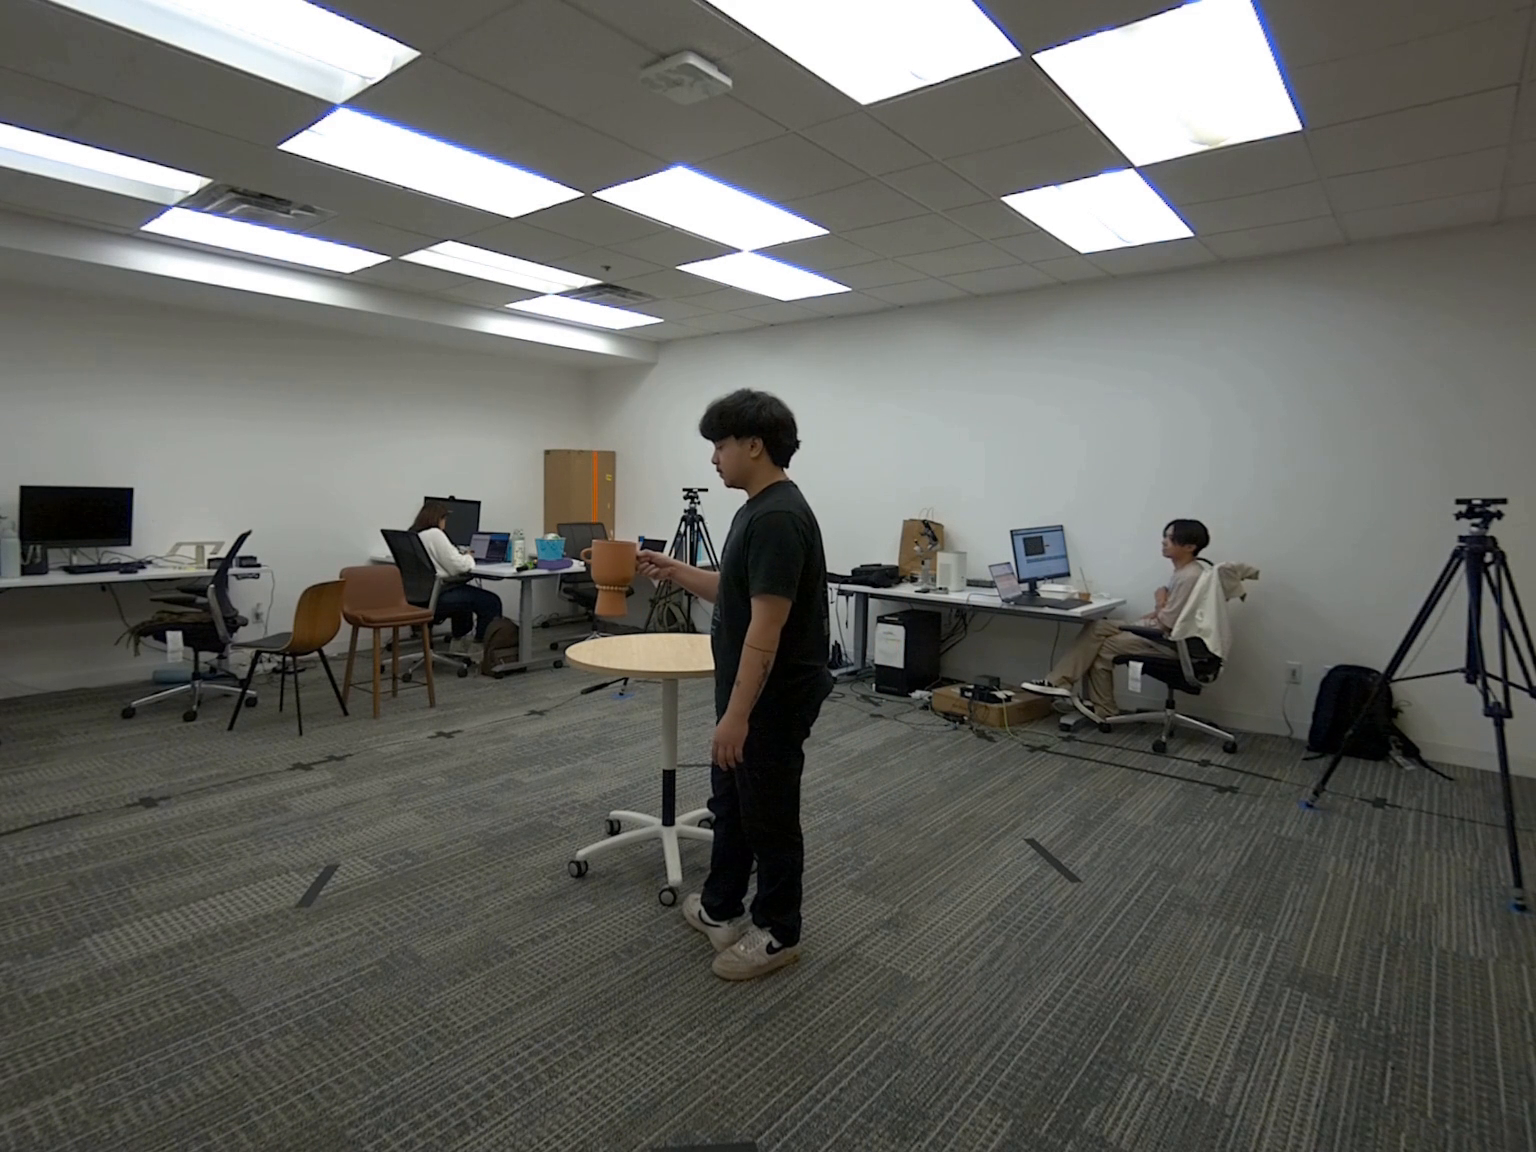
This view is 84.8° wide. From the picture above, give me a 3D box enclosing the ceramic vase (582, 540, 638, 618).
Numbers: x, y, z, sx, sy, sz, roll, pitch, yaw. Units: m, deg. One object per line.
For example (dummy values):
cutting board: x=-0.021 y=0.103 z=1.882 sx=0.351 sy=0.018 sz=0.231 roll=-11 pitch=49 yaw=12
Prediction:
ceramic vase: x=-0.477 y=-0.001 z=2.571 sx=0.163 sy=0.219 sz=0.131 roll=3 pitch=1 yaw=24
